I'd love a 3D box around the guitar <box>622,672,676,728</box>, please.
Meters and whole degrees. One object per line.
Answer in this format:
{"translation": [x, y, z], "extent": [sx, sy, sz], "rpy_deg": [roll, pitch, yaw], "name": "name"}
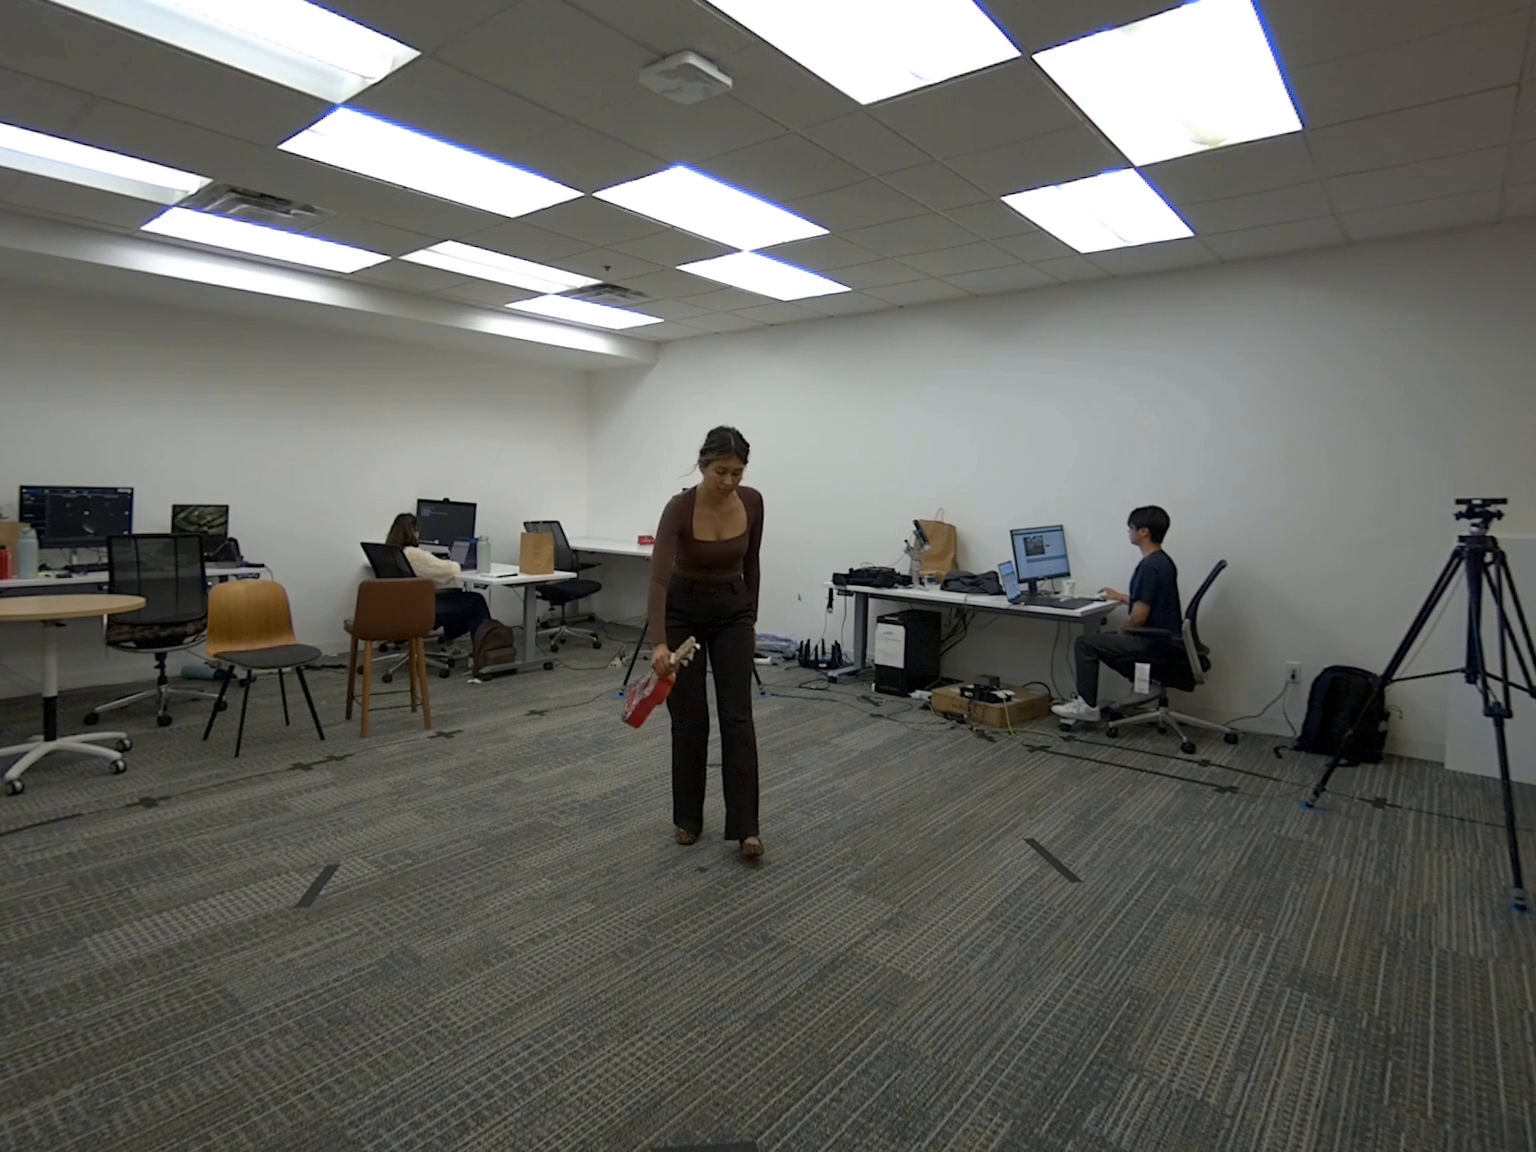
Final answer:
{"translation": [-0.388, 0.374, 2.931], "extent": [0.069, 0.197, 0.500], "rpy_deg": [27, -37, -20], "name": "guitar"}
